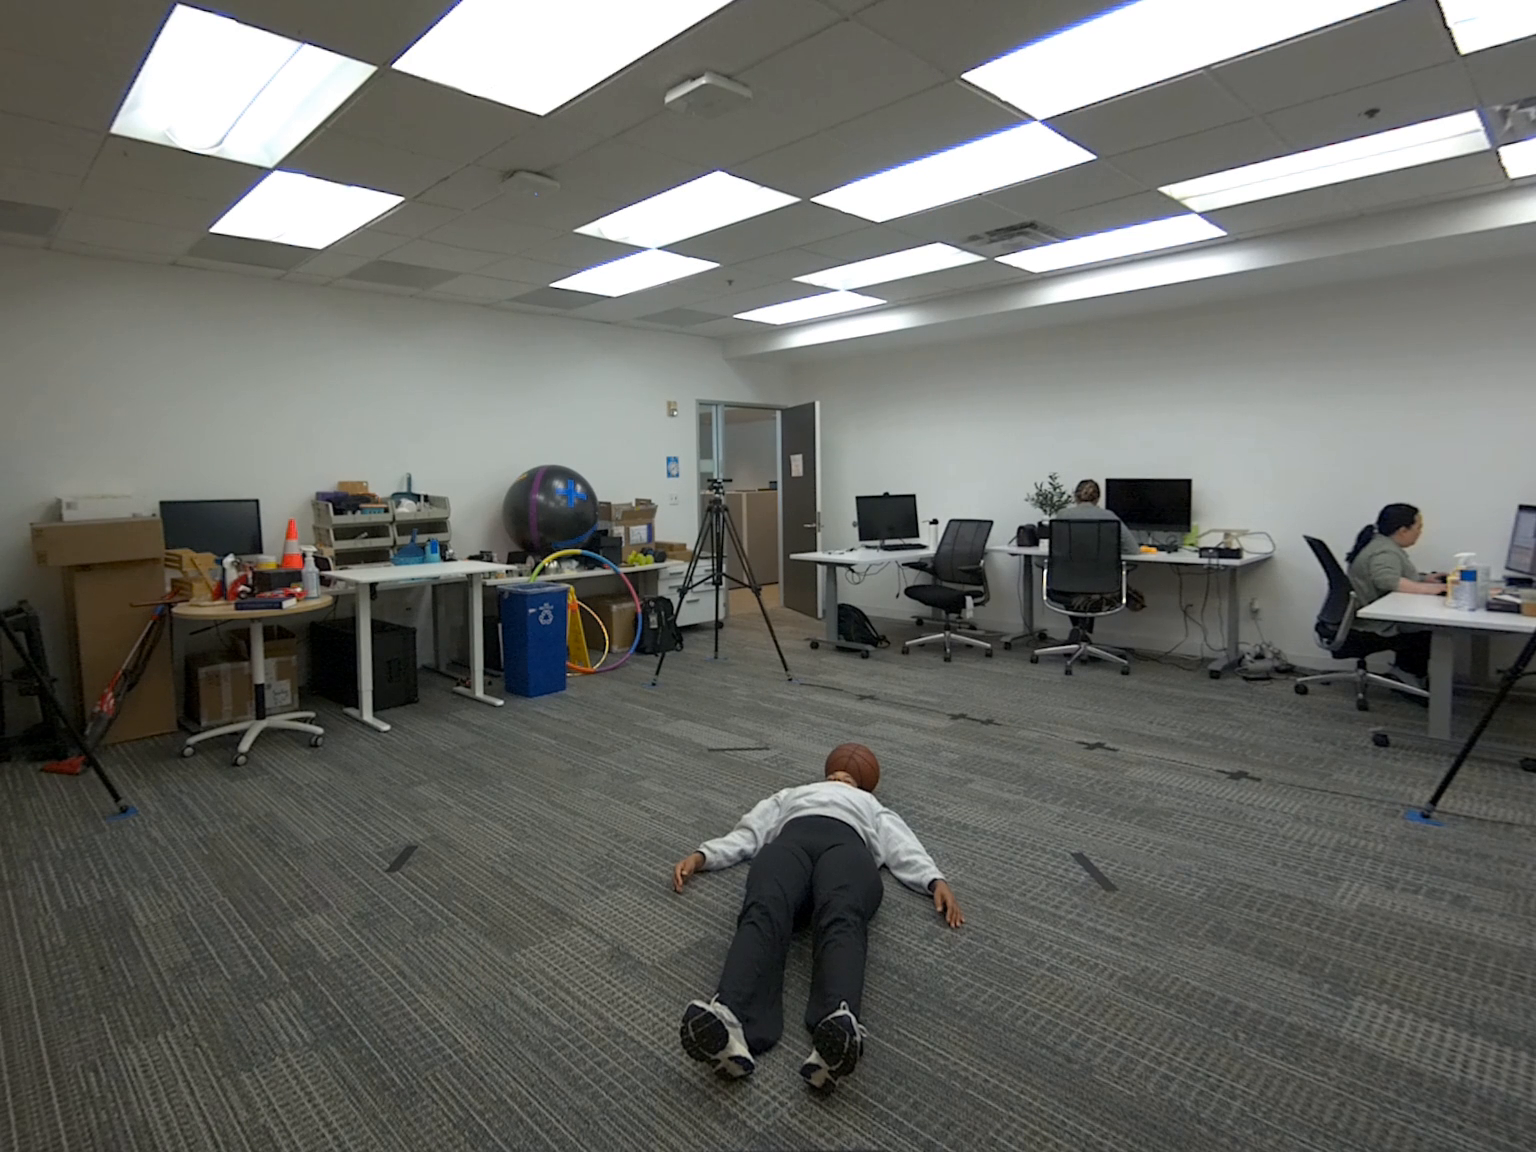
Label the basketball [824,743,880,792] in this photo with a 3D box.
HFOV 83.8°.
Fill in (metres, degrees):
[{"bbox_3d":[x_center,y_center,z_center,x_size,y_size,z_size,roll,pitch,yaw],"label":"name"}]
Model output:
[{"bbox_3d":[0.368,0.849,3.727,0.236,0.235,0.236,-4,2,-2],"label":"basketball"}]
